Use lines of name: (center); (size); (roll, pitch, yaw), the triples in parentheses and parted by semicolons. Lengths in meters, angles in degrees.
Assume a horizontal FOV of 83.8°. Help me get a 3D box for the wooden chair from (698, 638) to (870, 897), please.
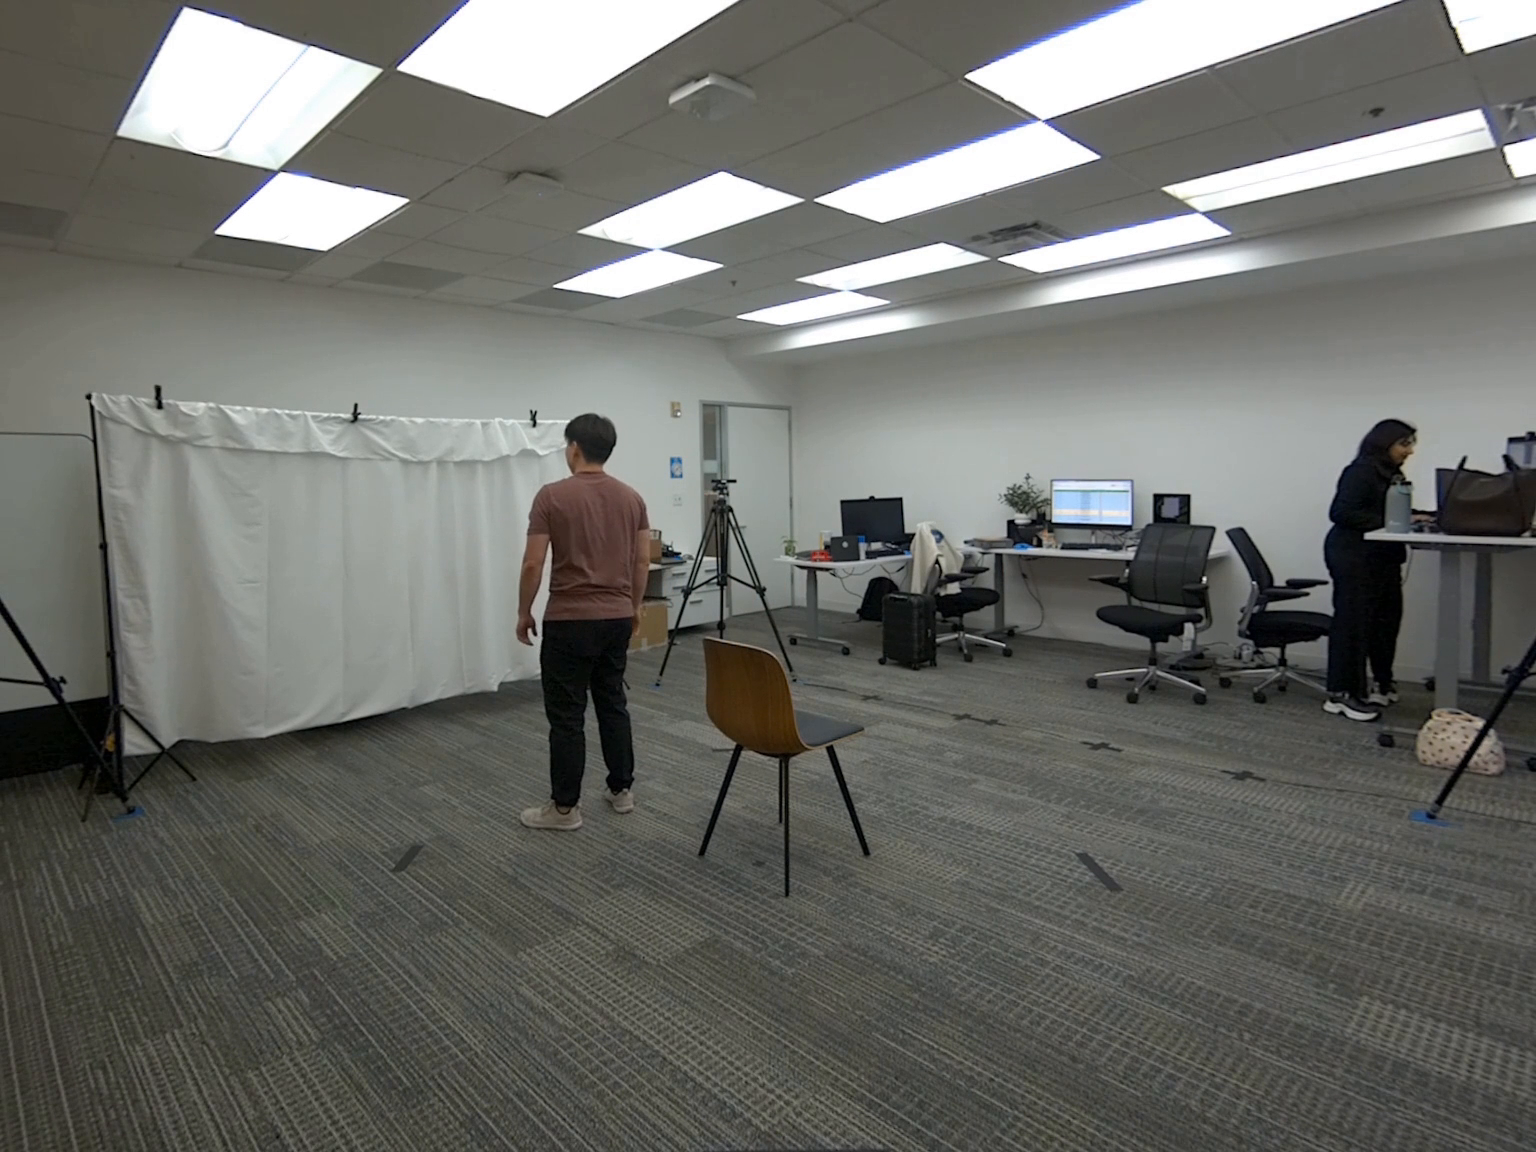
wooden chair: (0.059, 0.613, 3.143); (0.511, 0.872, 0.493); (-11, 9, -44)
